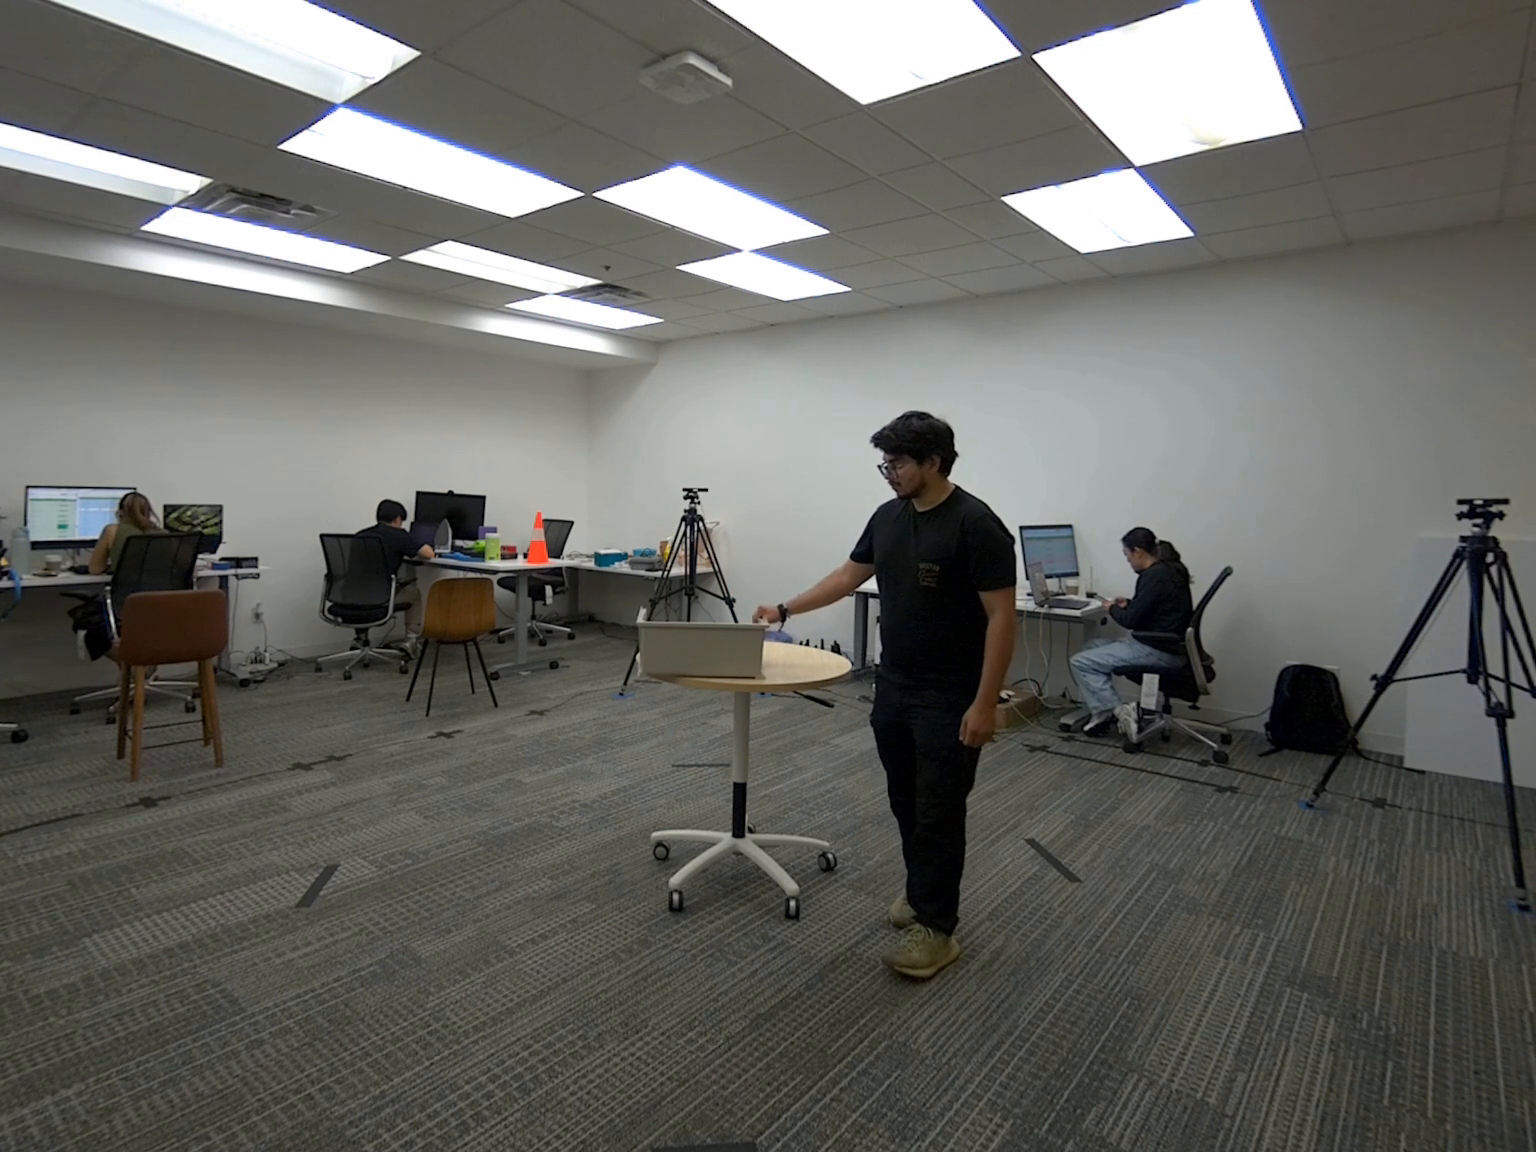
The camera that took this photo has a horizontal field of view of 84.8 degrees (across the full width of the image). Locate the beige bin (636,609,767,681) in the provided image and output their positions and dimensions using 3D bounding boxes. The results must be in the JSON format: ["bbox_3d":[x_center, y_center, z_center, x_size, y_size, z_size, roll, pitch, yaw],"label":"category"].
[{"bbox_3d":[-0.237,0.216,2.888,0.420,0.188,0.381,2,6,-5],"label":"beige bin"}]
